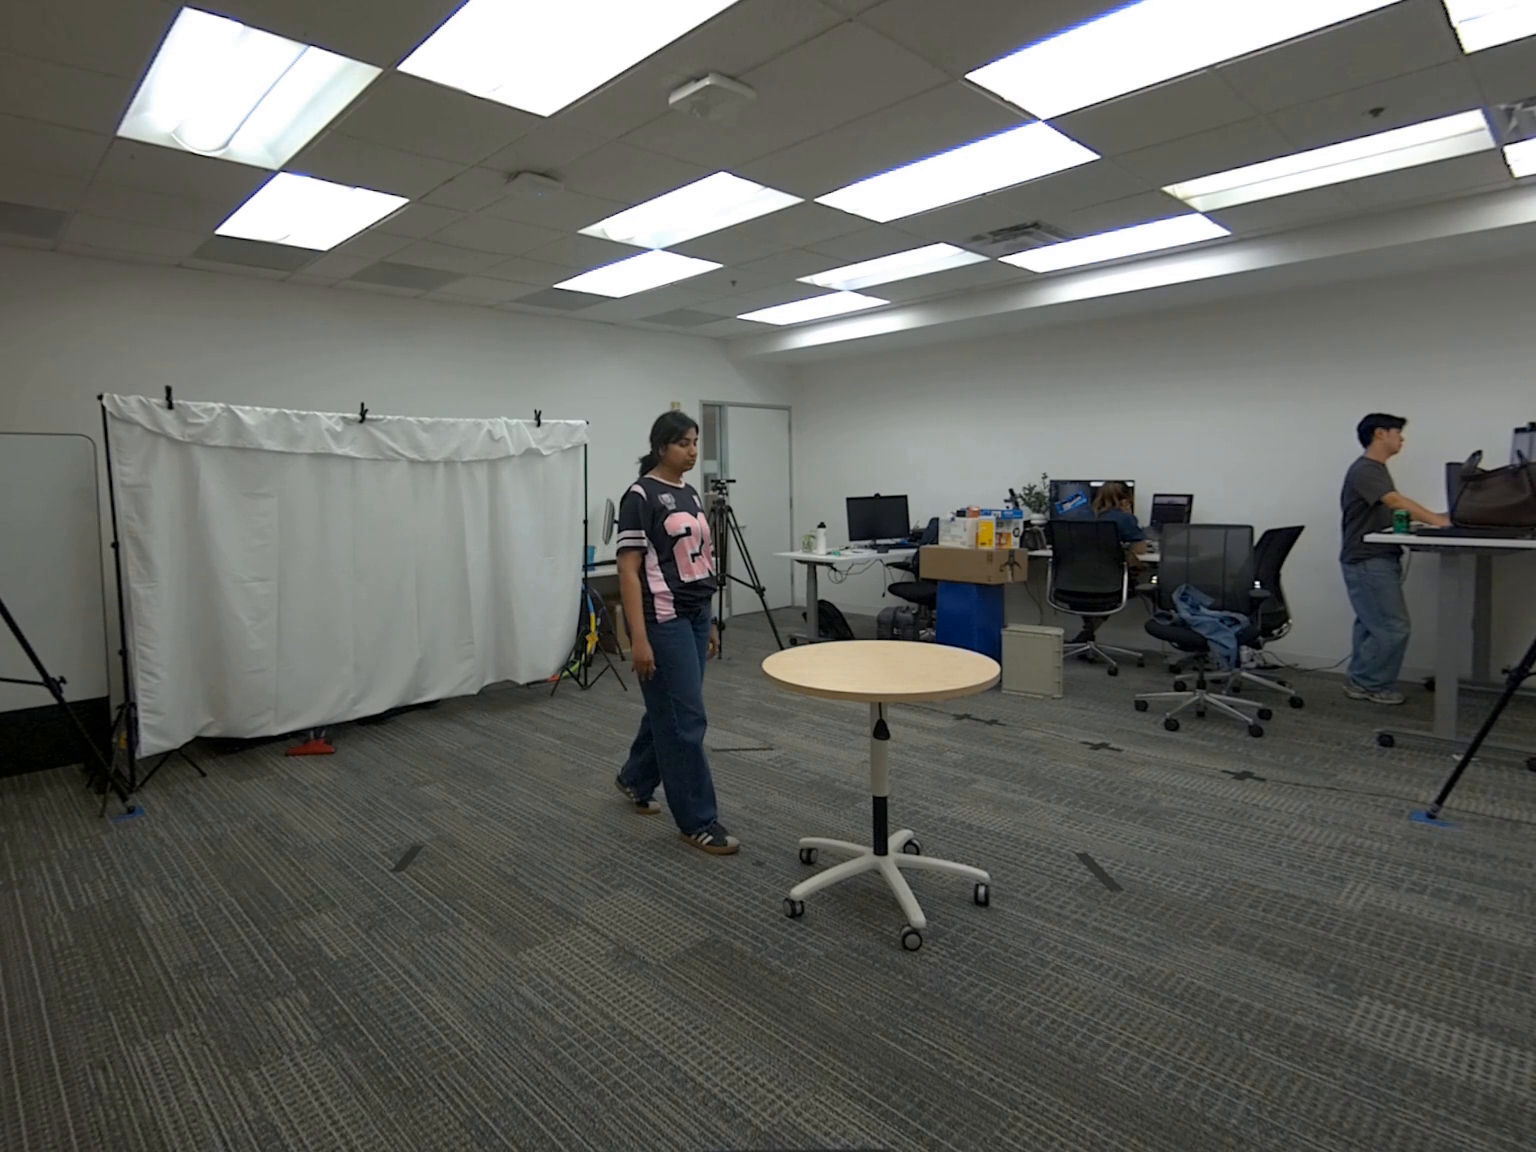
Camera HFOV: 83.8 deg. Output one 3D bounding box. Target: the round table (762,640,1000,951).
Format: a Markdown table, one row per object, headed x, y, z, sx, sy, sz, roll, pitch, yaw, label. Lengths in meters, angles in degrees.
| x | y | z | sx | sy | sz | roll | pitch | yaw | label |
| --- | --- | --- | --- | --- | --- | --- | --- | --- | --- |
| 0.368 | 0.675 | 2.855 | 0.784 | 0.783 | 0.789 | -1 | 5 | -2 | round table |
